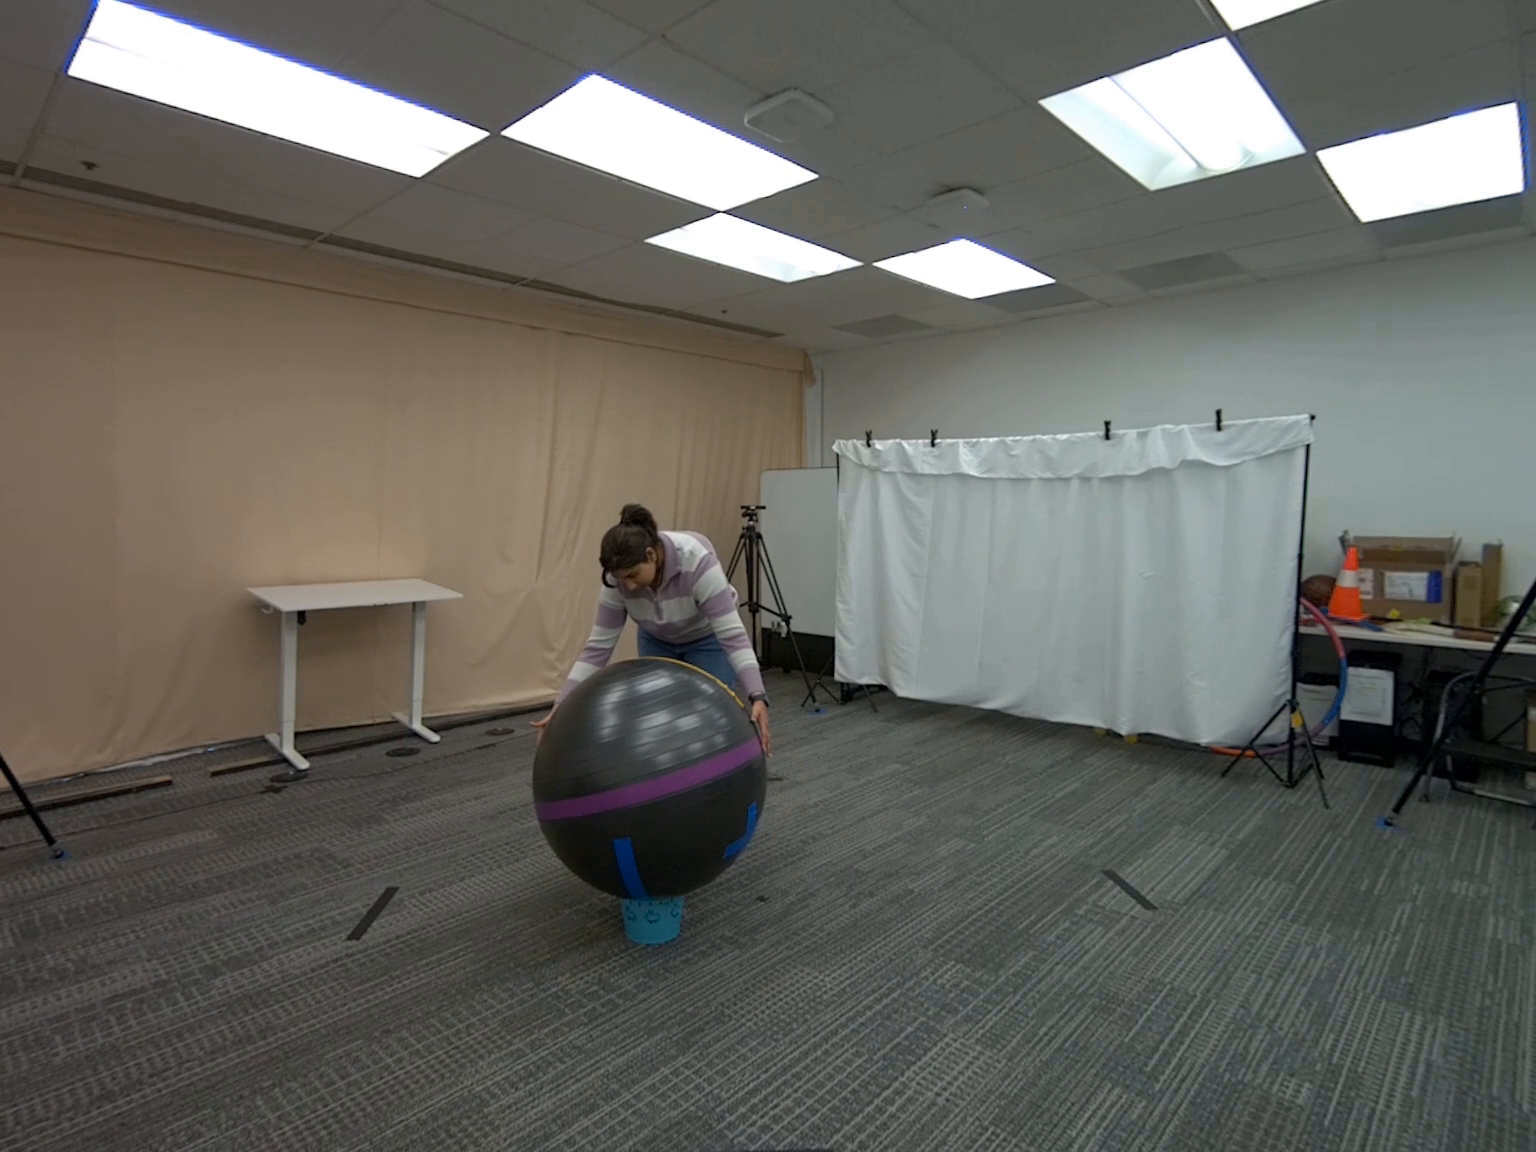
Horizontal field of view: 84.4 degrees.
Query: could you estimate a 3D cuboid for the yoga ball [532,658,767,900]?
[{"bbox_3d":[-0.393,0.657,2.747,0.757,0.756,0.760,0,4,-2],"label":"yoga ball"}]
